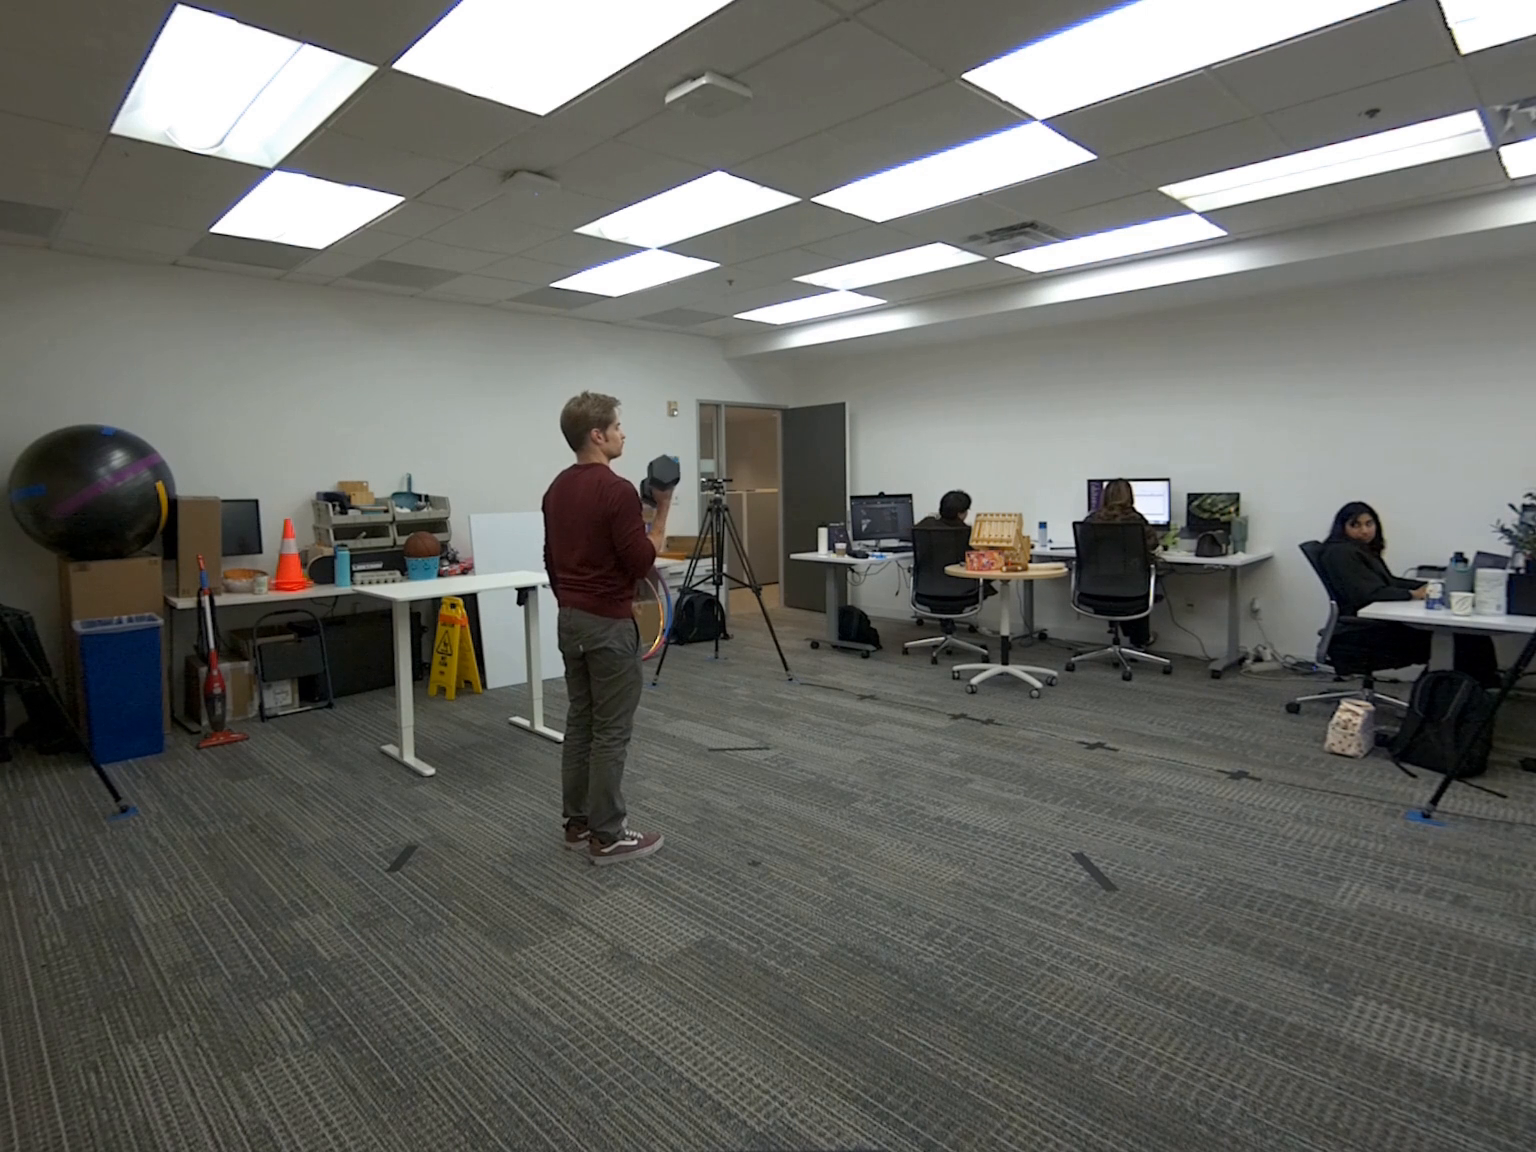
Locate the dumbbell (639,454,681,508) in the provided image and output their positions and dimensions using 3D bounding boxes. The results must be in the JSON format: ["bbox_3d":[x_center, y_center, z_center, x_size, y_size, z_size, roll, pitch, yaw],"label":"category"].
[{"bbox_3d":[-0.385,-0.332,3.109,0.107,0.124,0.293,0,-13,-13],"label":"dumbbell"}]
